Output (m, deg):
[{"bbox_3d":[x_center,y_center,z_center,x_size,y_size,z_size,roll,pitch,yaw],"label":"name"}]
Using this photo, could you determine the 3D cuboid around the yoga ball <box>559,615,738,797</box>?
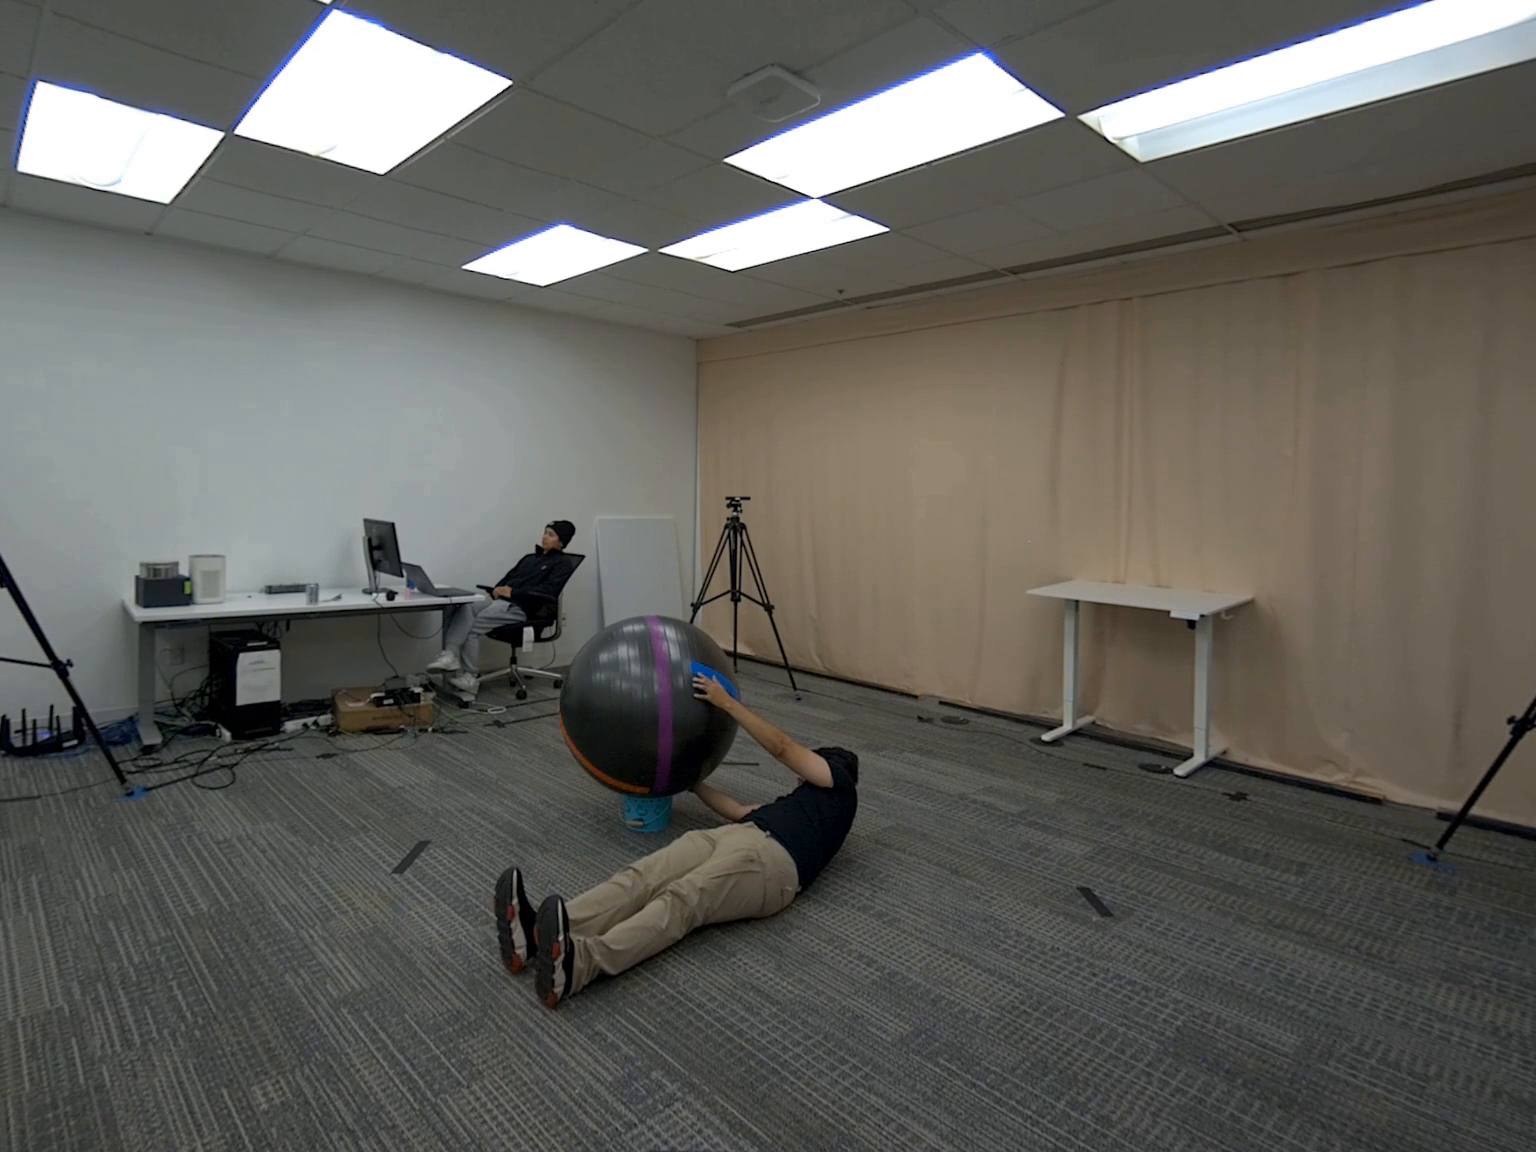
[{"bbox_3d":[-0.501,0.552,3.563,0.757,0.755,0.761,1,5,-1],"label":"yoga ball"}]
